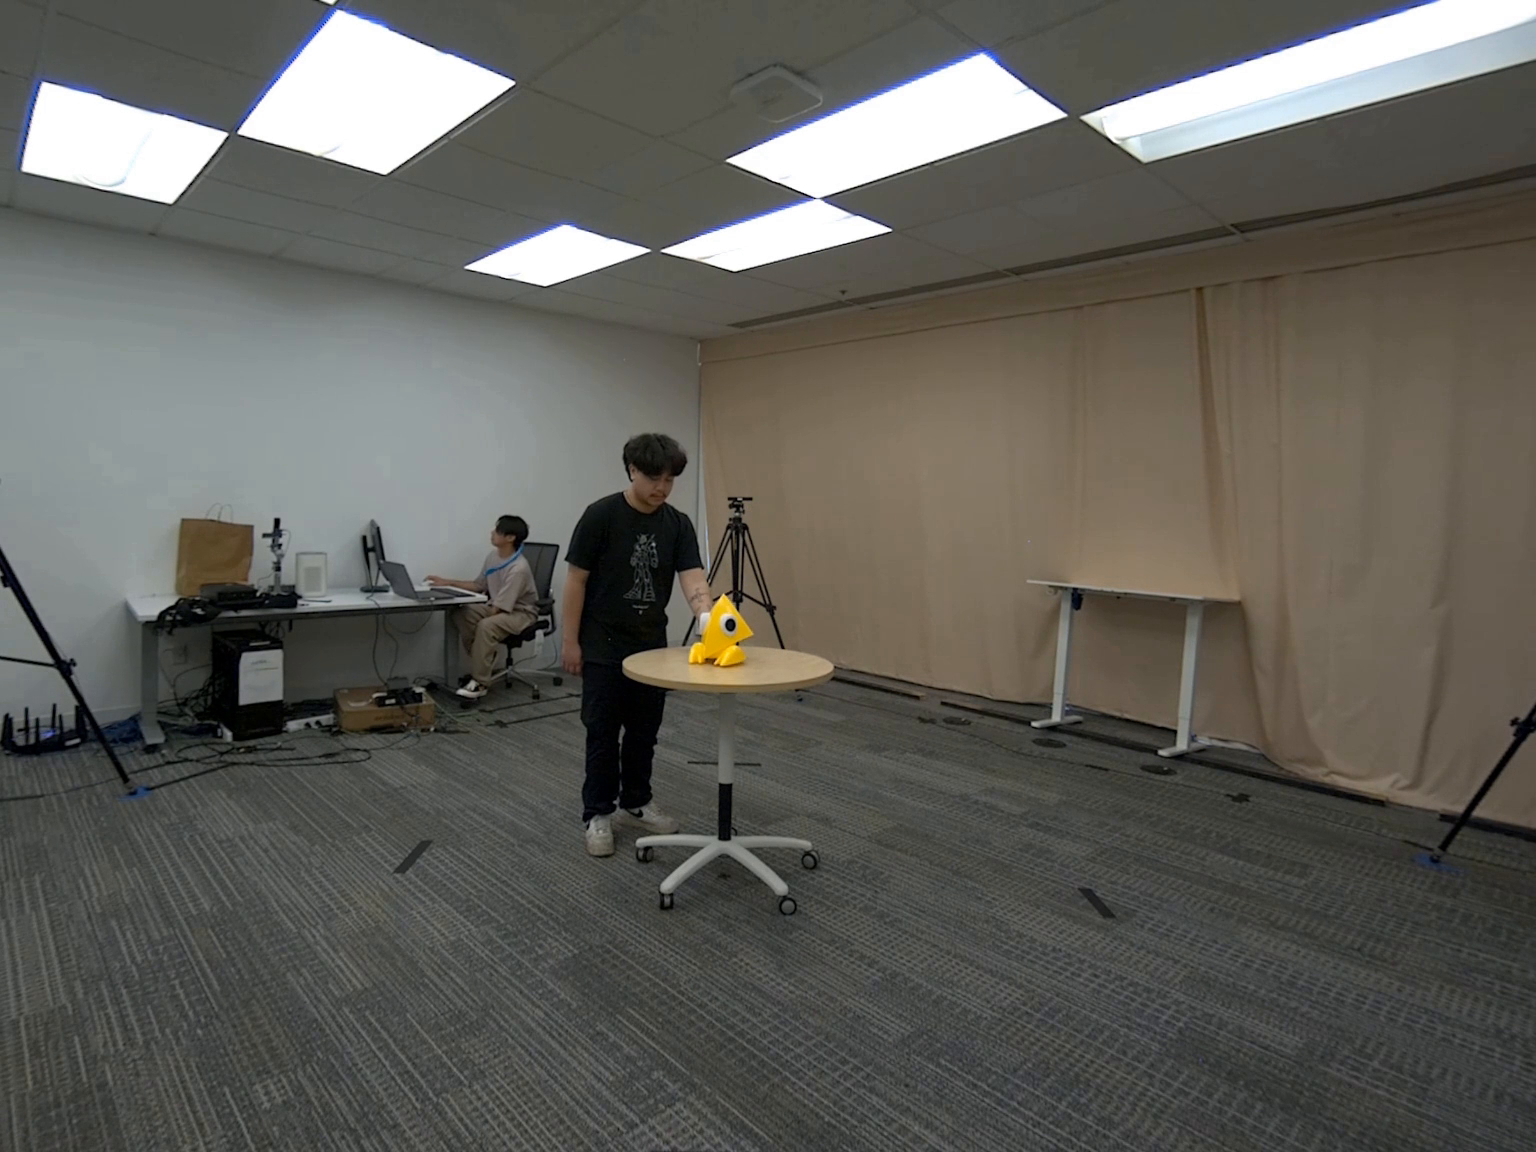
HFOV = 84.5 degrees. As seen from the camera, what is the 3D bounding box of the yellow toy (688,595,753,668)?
[{"bbox_3d":[-0.194,0.187,3.056,0.209,0.229,0.190,2,7,28],"label":"yellow toy"}]
